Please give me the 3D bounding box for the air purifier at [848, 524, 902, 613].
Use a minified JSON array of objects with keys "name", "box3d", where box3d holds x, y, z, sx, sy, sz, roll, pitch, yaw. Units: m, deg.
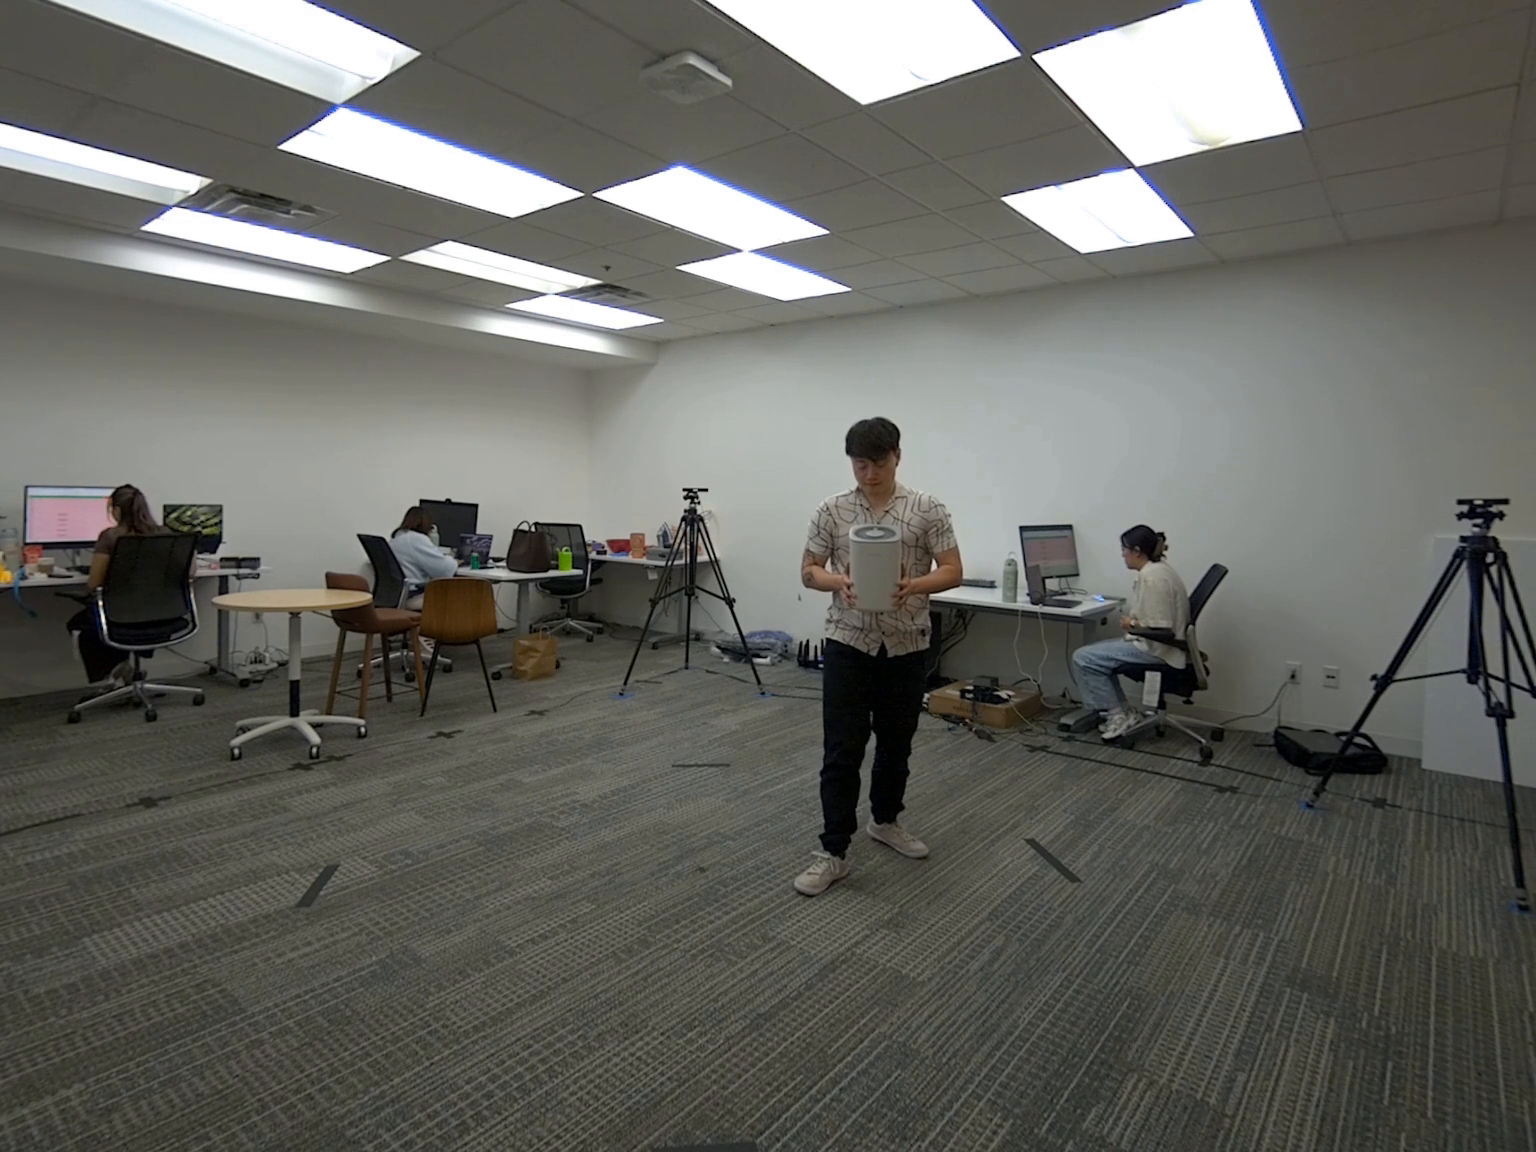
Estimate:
[{"name":"air purifier","box3d":[0.363,-0.035,2.912,0.173,0.260,0.173,0,21,5]}]
